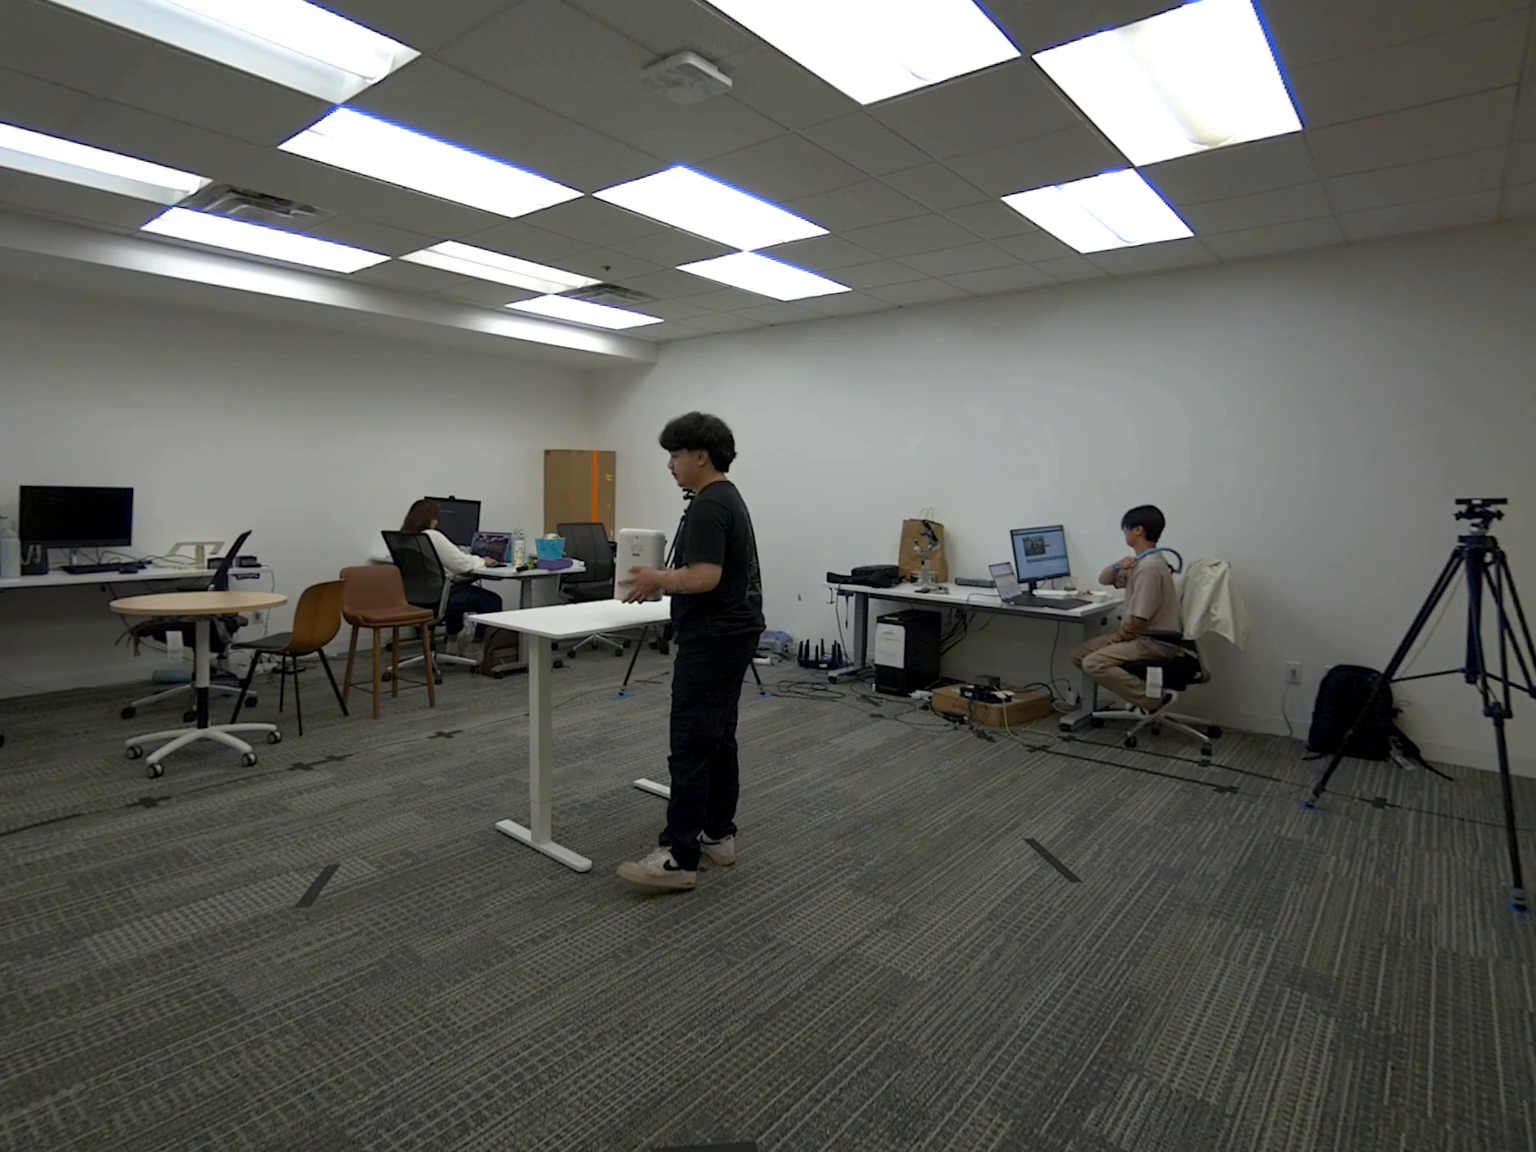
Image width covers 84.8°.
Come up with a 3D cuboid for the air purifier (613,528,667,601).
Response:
[{"bbox_3d":[-0.488,-0.047,3.185,0.171,0.265,0.171,2,2,1],"label":"air purifier"}]
